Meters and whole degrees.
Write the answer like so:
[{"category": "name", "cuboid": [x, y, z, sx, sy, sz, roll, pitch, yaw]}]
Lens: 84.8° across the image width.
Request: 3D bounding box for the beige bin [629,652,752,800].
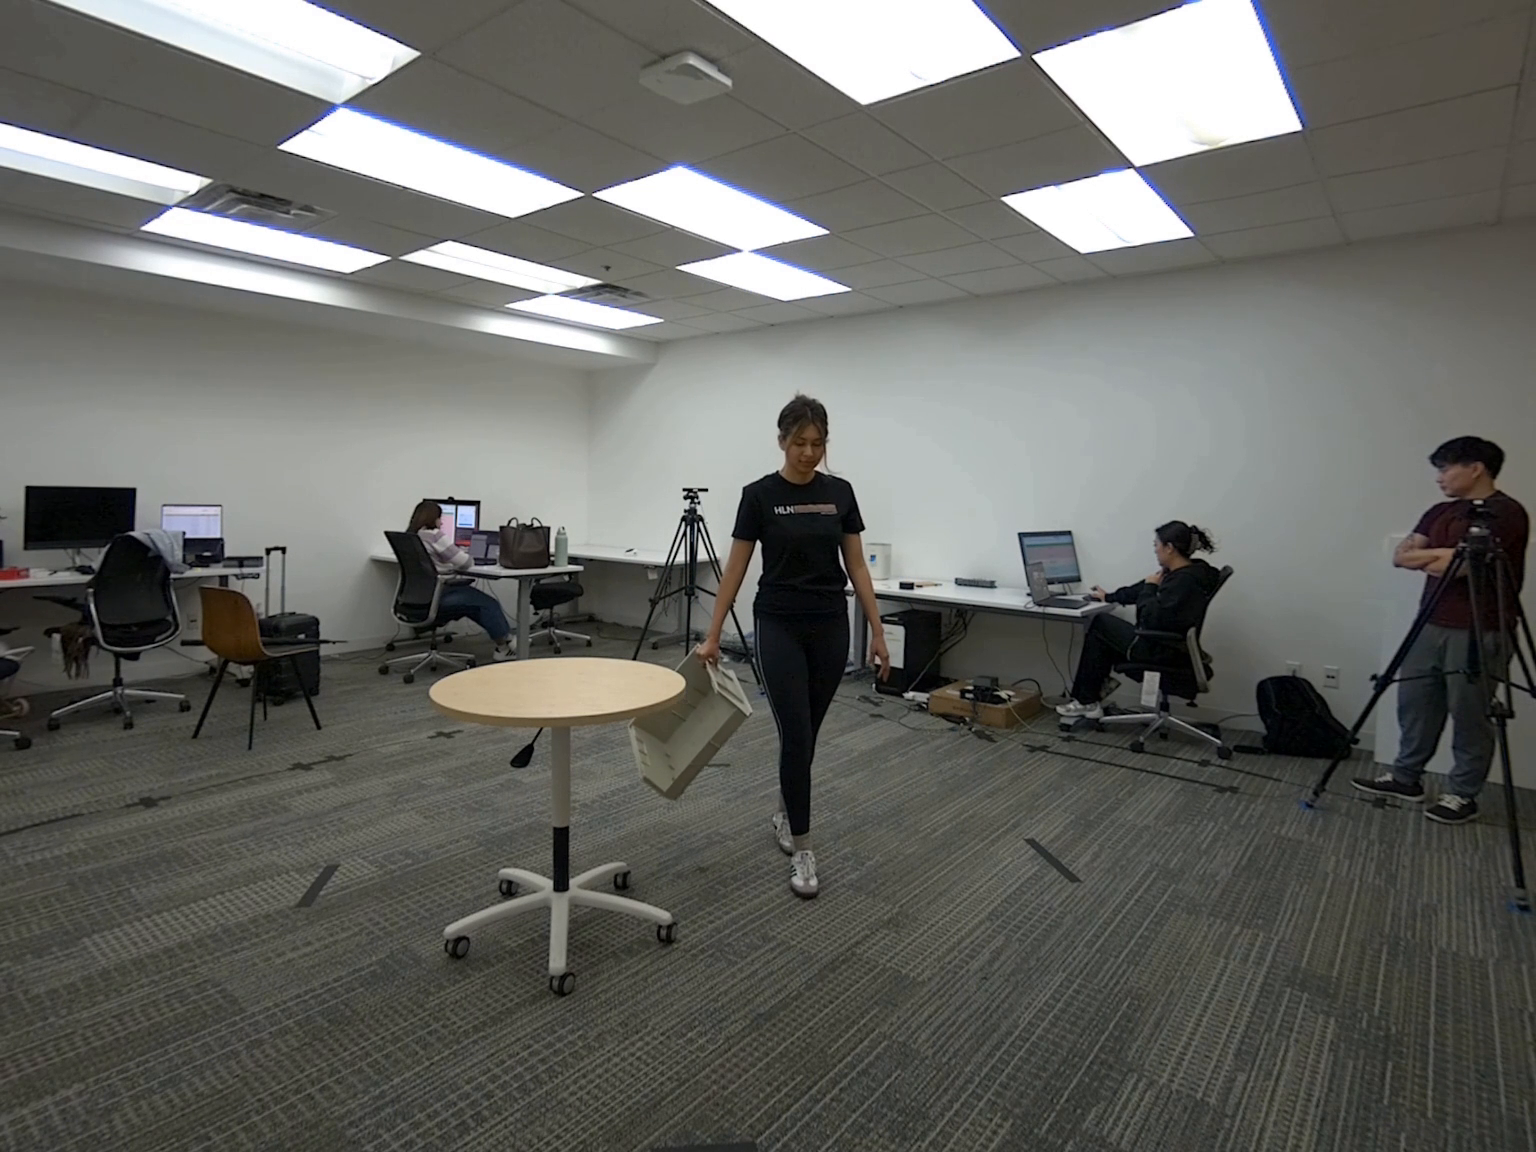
[{"category": "beige bin", "cuboid": [-0.294, 0.533, 3.085, 0.183, 0.422, 0.389, 38, 7, -25]}]
